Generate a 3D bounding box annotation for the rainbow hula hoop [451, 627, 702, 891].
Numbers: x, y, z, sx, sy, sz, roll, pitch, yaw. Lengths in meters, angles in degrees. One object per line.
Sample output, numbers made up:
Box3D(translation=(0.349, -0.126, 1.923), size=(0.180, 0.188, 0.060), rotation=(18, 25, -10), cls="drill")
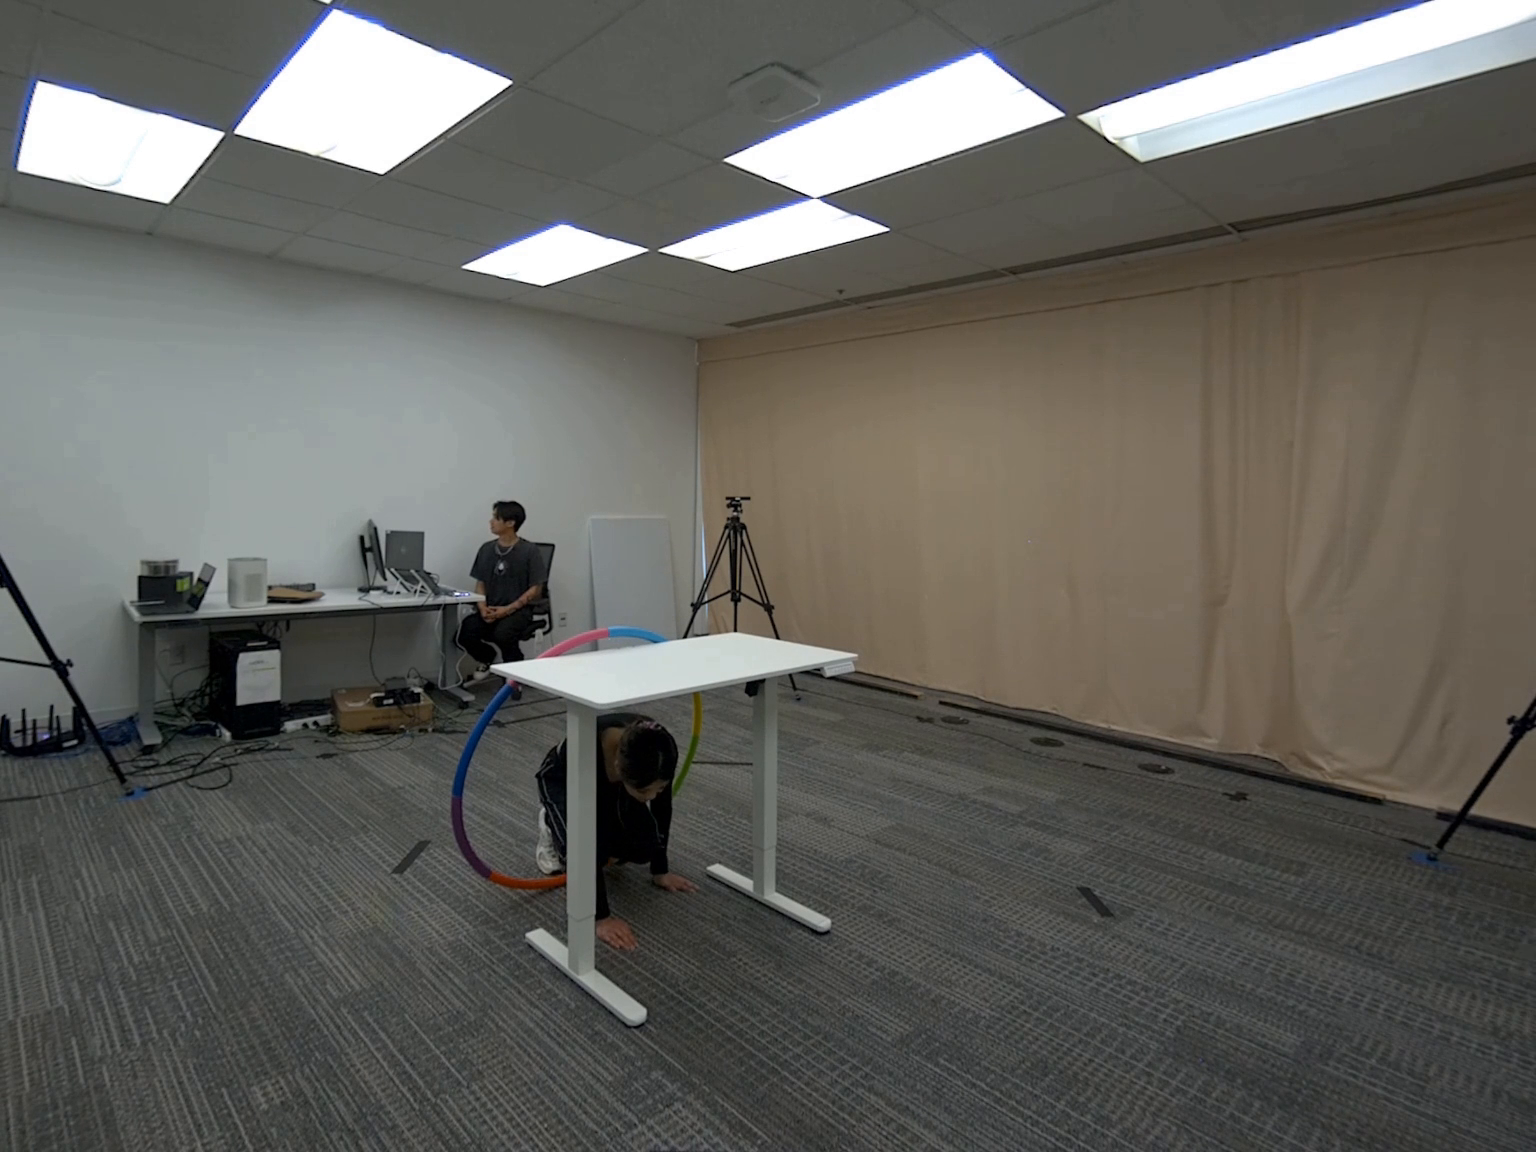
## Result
Box3D(translation=(-0.627, 0.643, 2.909), size=(0.956, 0.971, 0.036), rotation=(-3, 20, -44), cls="rainbow hula hoop")
